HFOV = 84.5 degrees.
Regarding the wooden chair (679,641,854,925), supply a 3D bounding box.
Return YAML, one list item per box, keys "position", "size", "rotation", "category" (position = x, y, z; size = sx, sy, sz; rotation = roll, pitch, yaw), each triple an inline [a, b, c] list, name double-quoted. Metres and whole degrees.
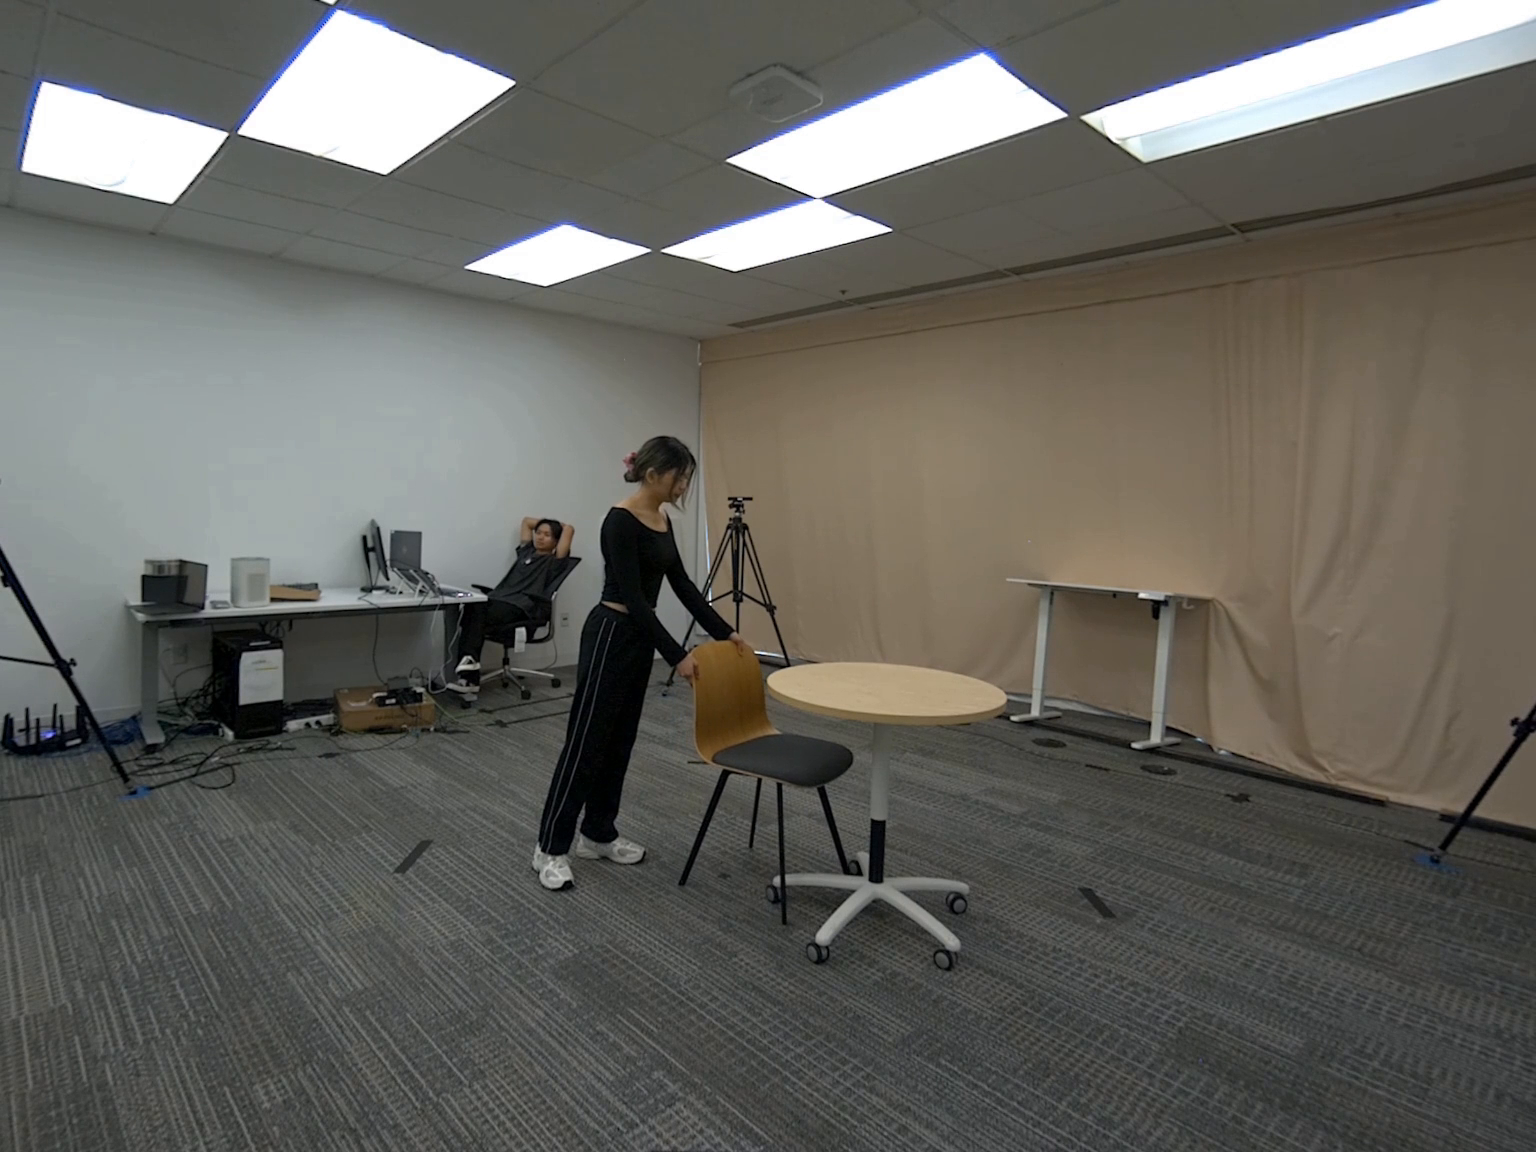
- position: [0.000, 0.687, 3.030]
  size: [0.535, 0.877, 0.467]
  rotation: [-2, 0, 36]
  category: "wooden chair"
